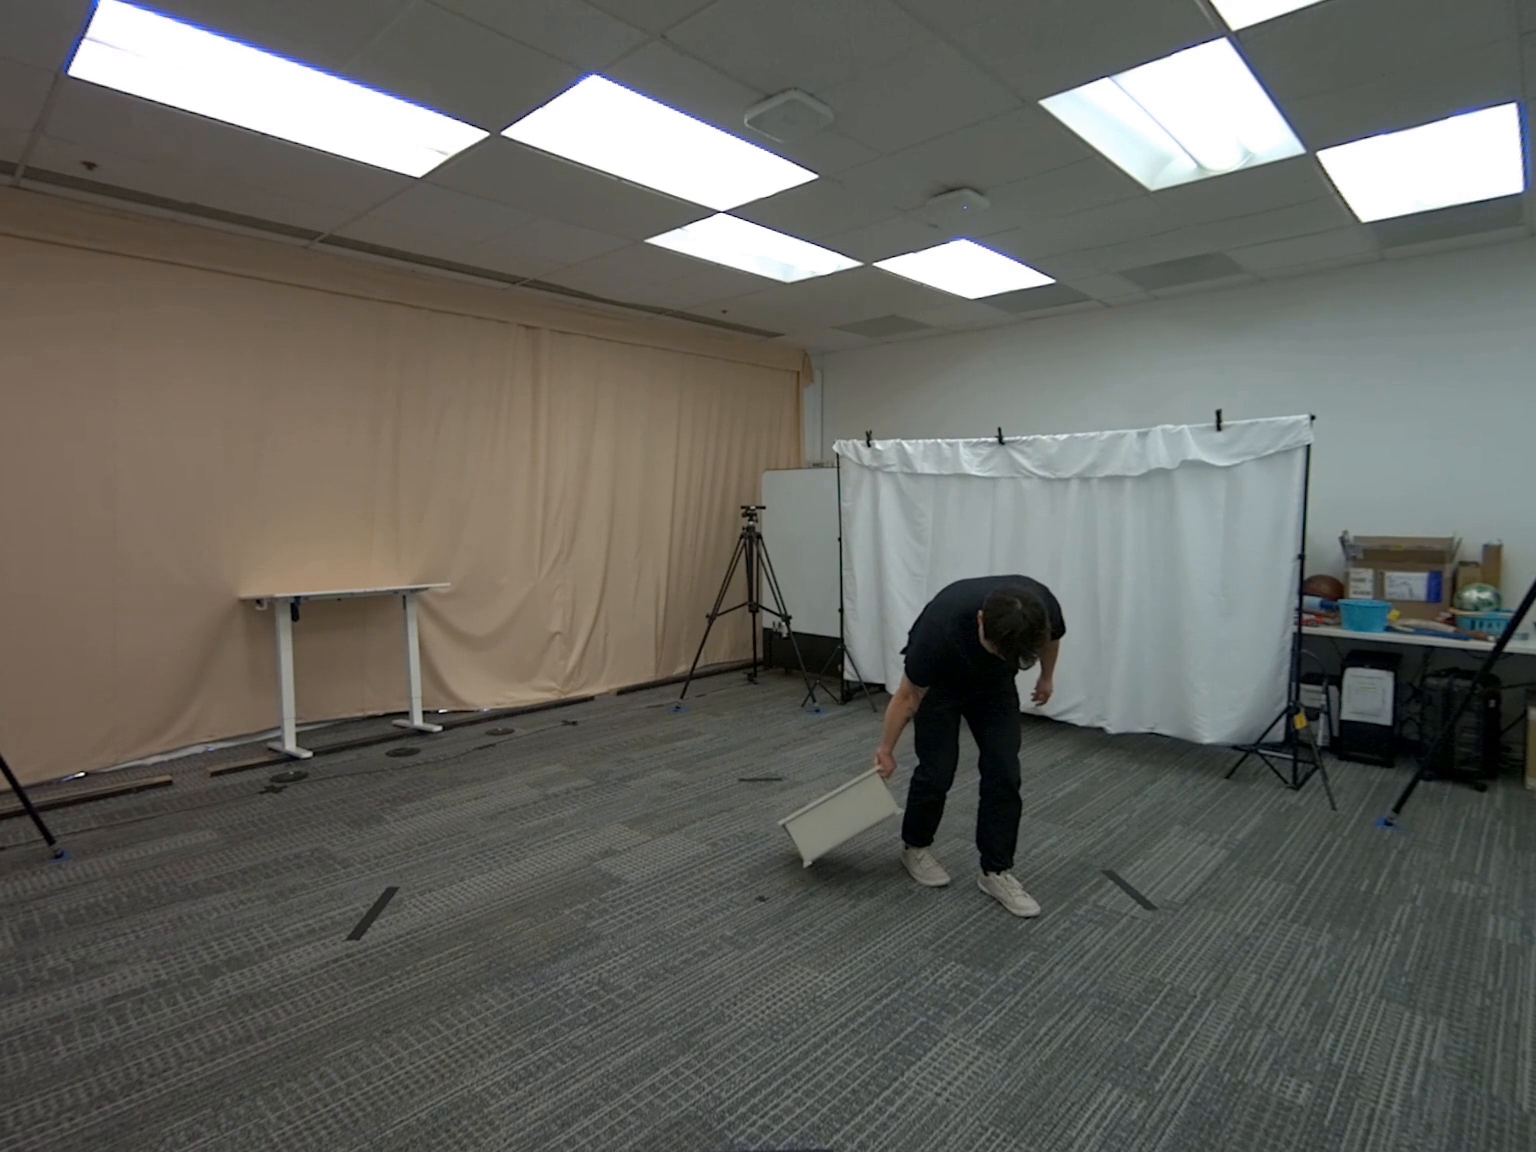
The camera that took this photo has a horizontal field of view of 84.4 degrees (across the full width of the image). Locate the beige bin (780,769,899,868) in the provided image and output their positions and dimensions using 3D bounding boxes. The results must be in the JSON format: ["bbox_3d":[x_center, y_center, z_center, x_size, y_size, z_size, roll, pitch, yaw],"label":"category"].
[{"bbox_3d":[0.277,0.908,3.202,0.422,0.191,0.372,-28,-12,-1],"label":"beige bin"}]
